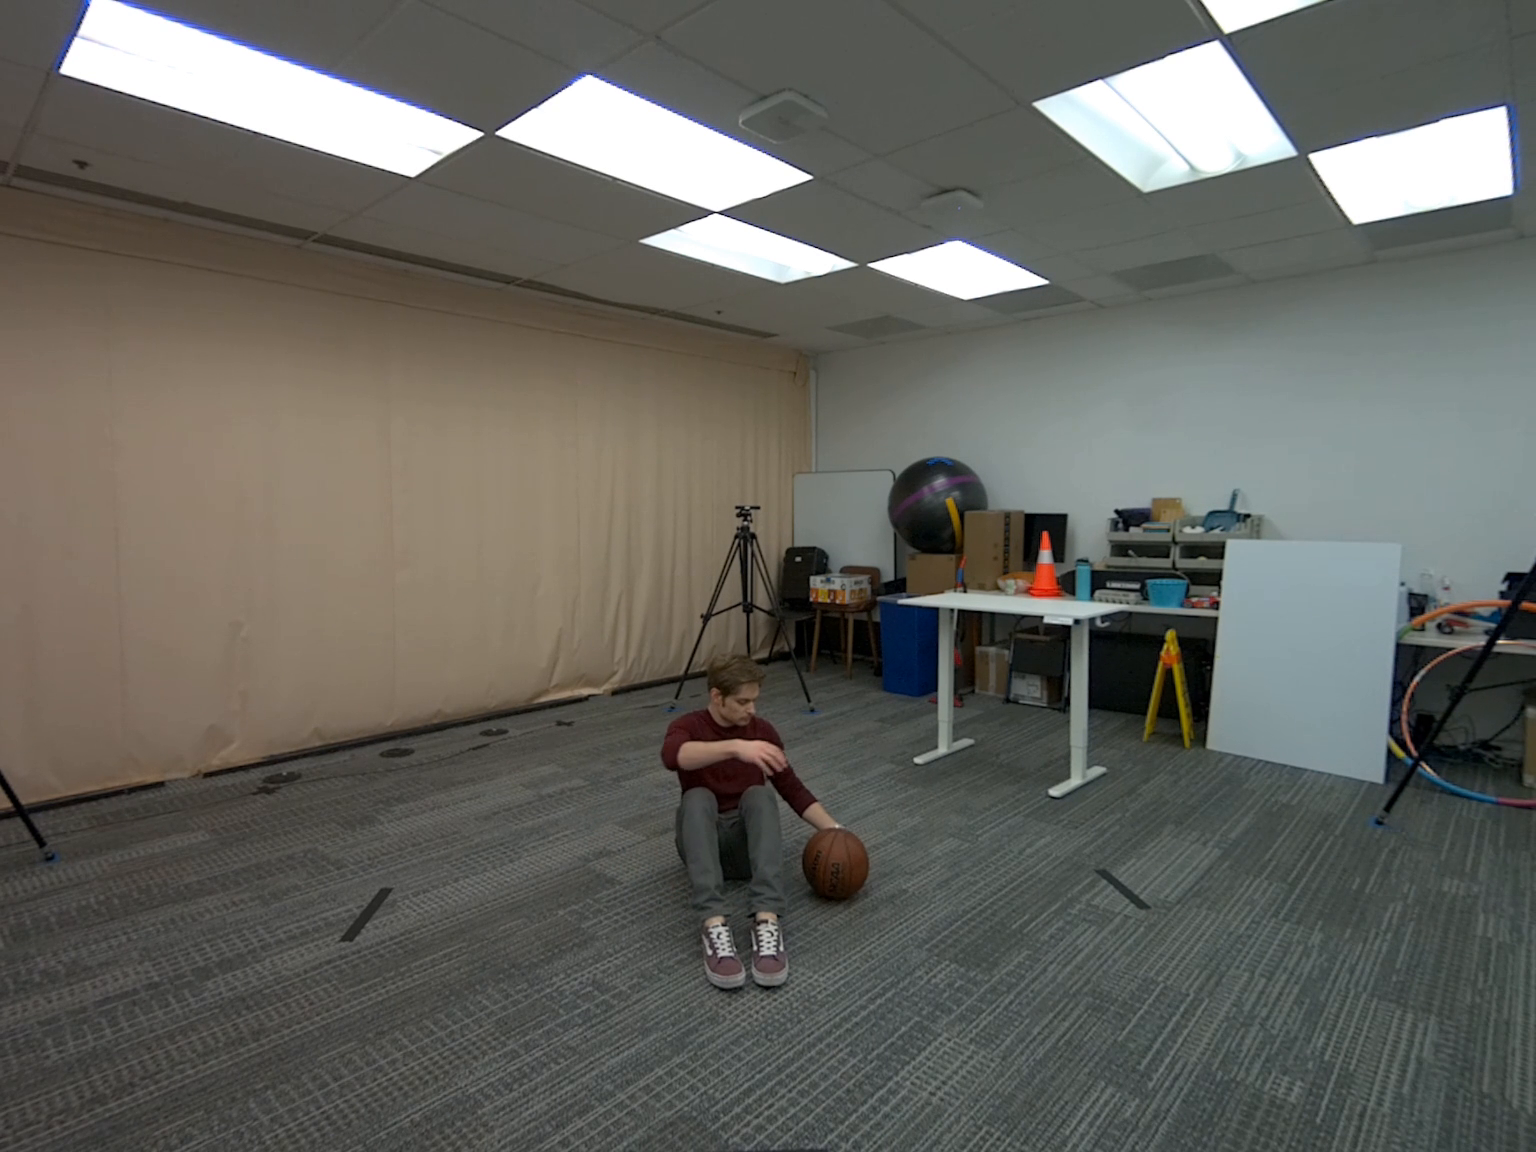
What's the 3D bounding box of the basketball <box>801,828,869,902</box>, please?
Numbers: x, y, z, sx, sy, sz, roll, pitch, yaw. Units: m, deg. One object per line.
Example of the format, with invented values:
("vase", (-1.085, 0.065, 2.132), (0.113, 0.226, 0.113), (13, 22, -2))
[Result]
("basketball", (0.243, 1.022, 2.993), (0.236, 0.235, 0.237), (0, 4, -2))
